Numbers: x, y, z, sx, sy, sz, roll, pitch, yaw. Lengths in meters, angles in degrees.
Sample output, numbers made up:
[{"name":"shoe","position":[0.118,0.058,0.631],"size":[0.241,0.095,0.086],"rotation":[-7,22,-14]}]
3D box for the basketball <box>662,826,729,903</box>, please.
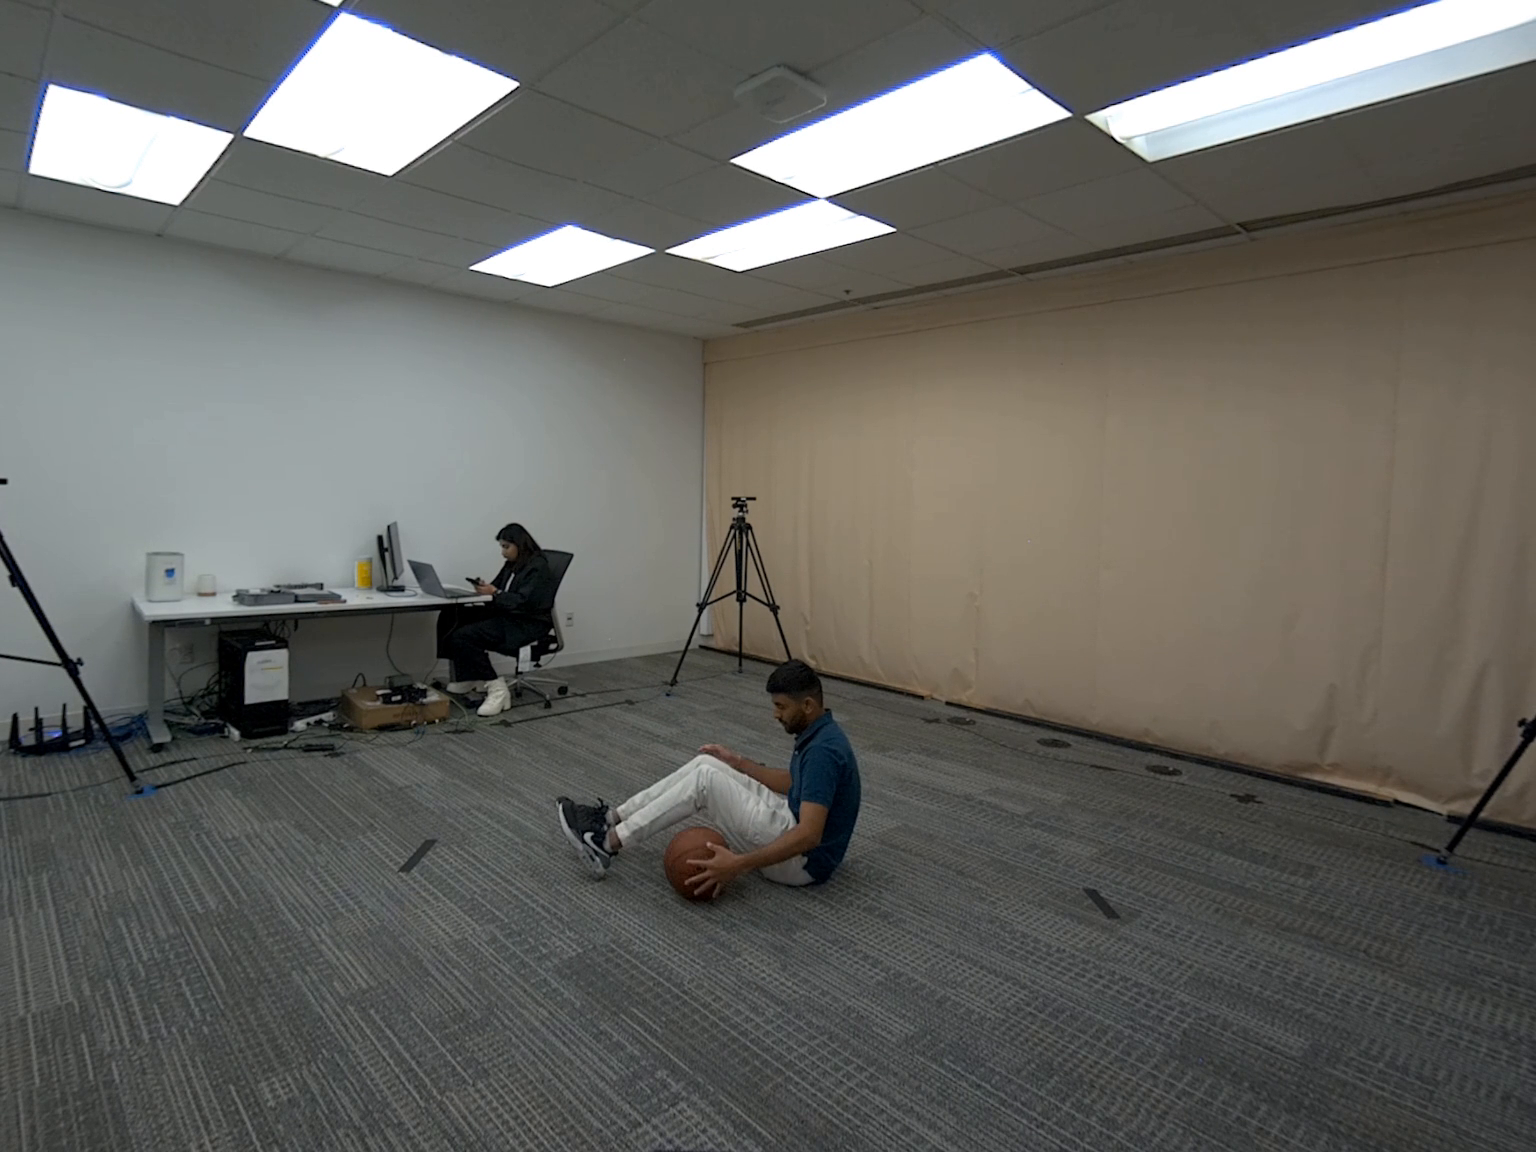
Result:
[{"name":"basketball","position":[-0.258,0.988,2.944],"size":[0.236,0.235,0.237],"rotation":[1,4,-1]}]
